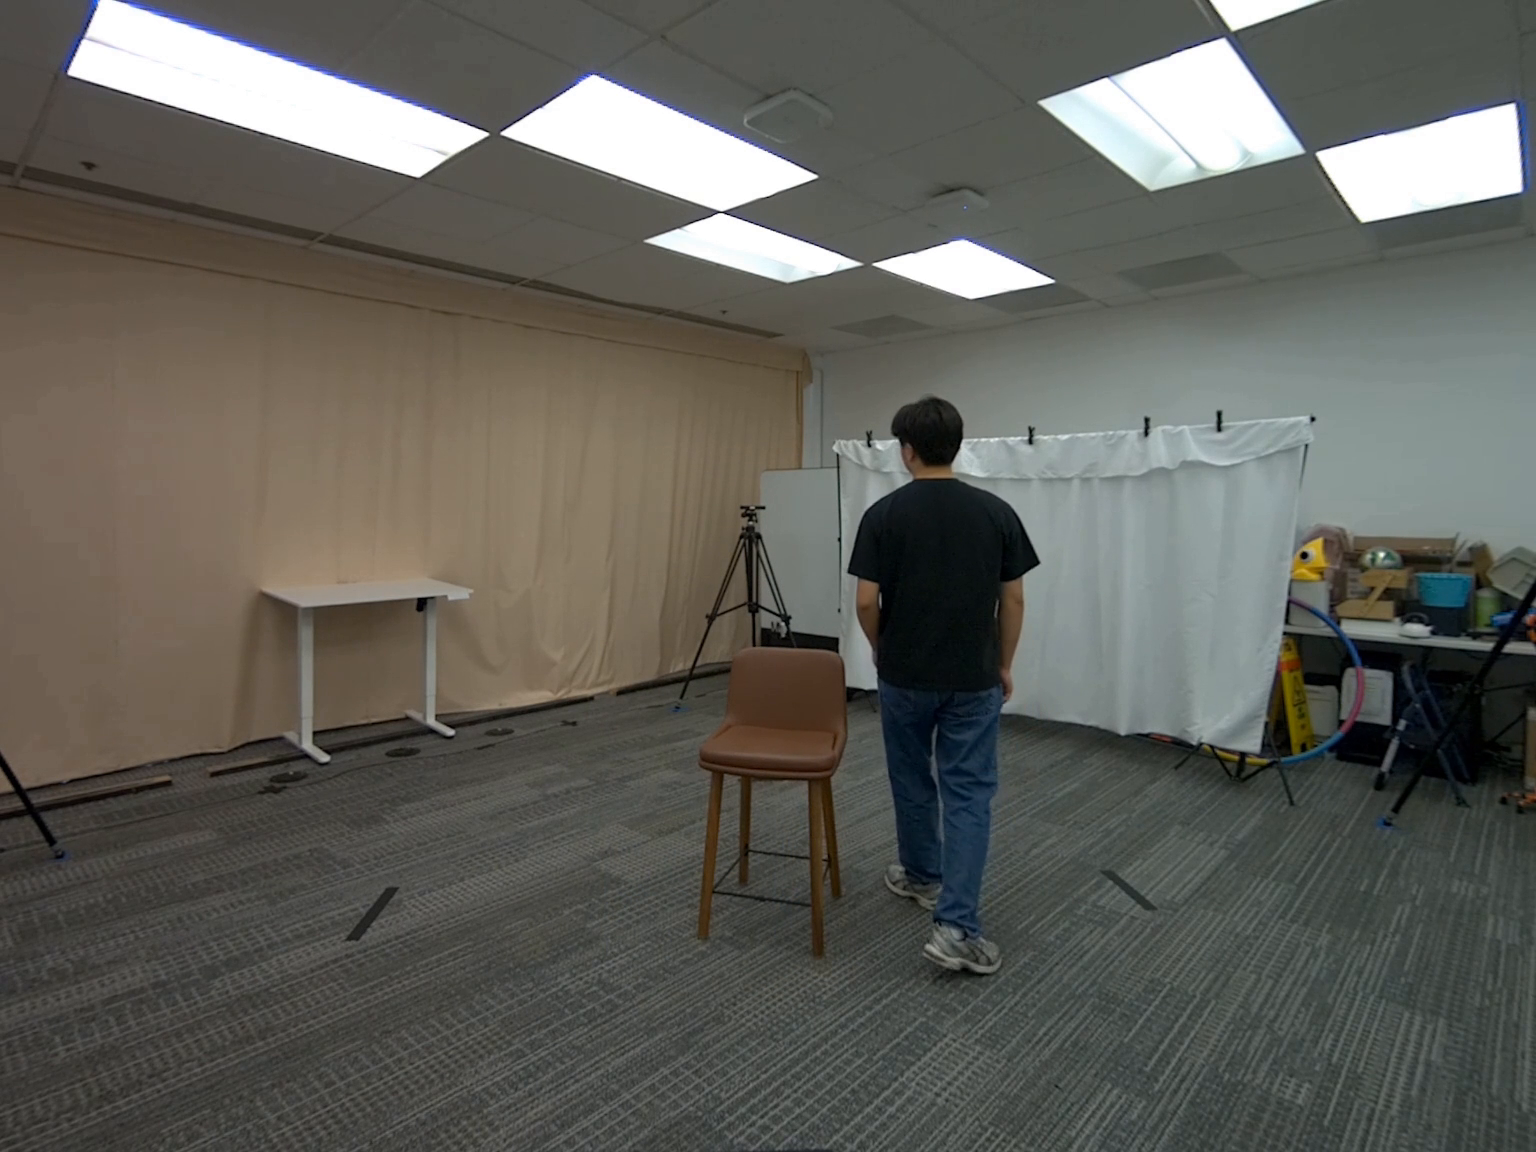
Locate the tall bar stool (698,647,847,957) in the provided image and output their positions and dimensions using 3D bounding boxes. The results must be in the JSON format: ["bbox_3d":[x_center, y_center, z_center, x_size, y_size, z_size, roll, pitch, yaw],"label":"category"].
[{"bbox_3d":[0.029,0.727,2.845,0.465,0.888,0.459,2,3,17],"label":"tall bar stool"}]
